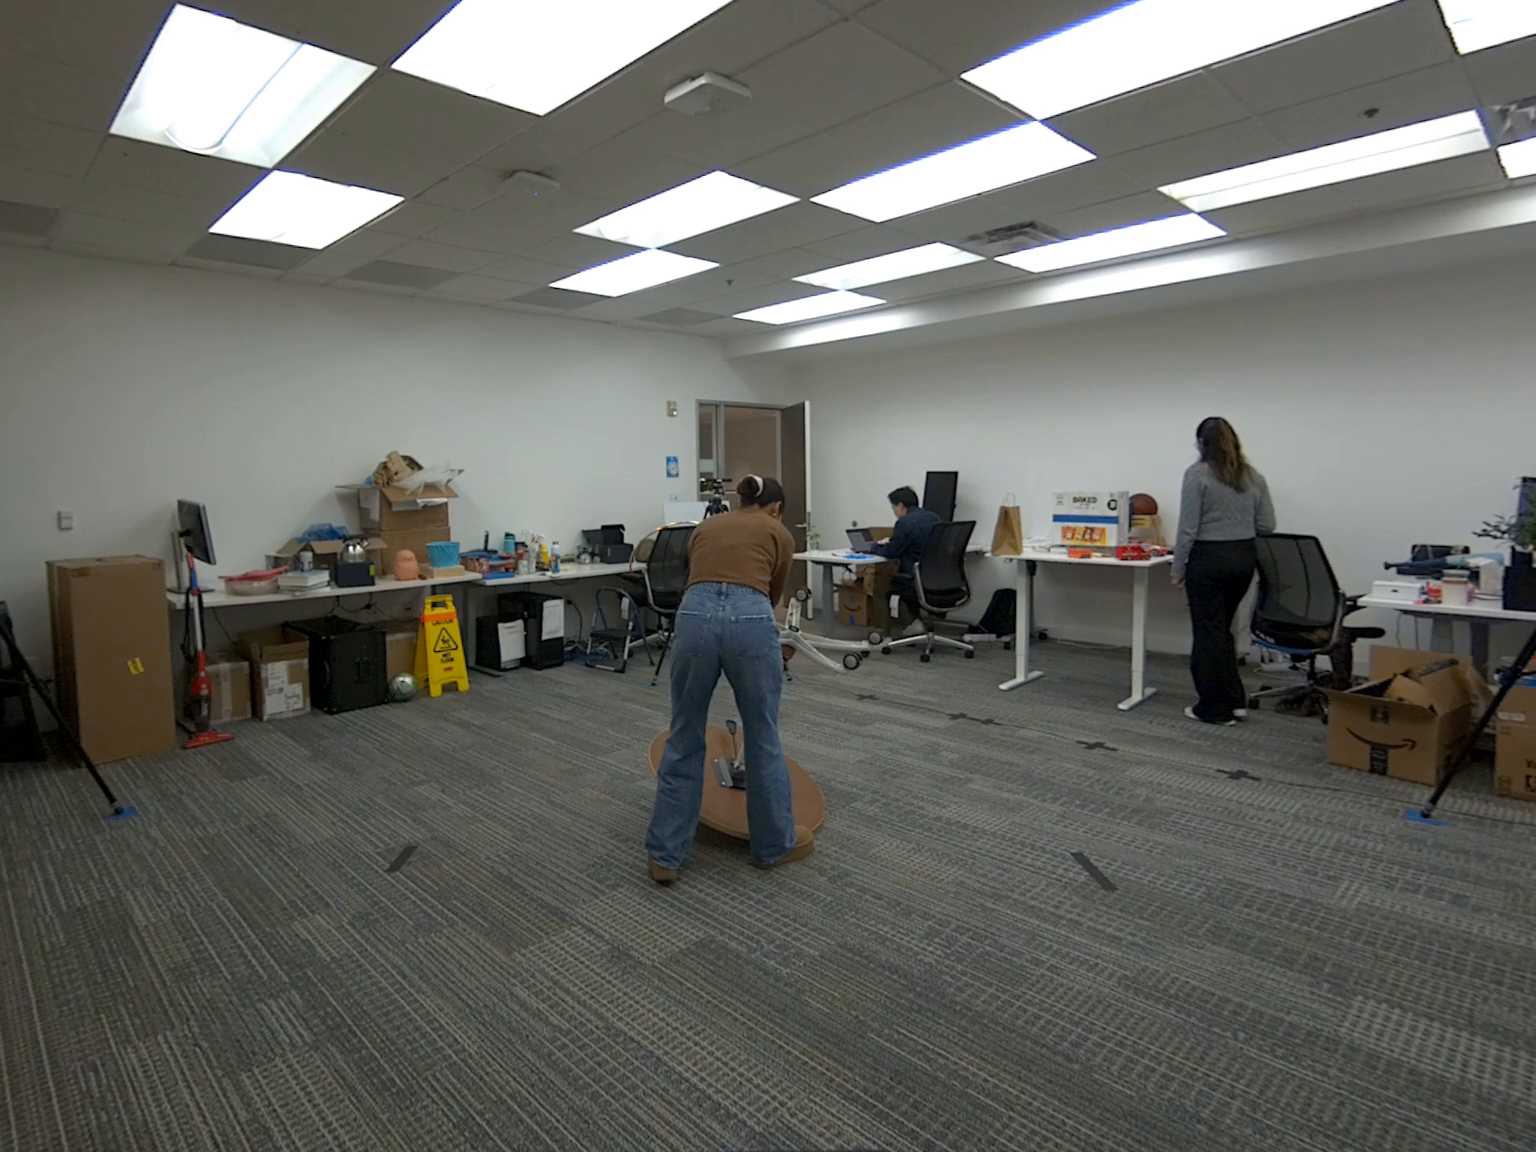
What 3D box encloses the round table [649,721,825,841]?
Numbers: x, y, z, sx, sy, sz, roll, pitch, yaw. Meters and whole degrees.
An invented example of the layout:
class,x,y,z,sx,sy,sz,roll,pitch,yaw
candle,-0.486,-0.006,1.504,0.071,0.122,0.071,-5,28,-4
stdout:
class,x,y,z,sx,sy,sz,roll,pitch,yaw
round table,0.006,0.498,3.464,0.759,0.787,0.776,17,15,-7
